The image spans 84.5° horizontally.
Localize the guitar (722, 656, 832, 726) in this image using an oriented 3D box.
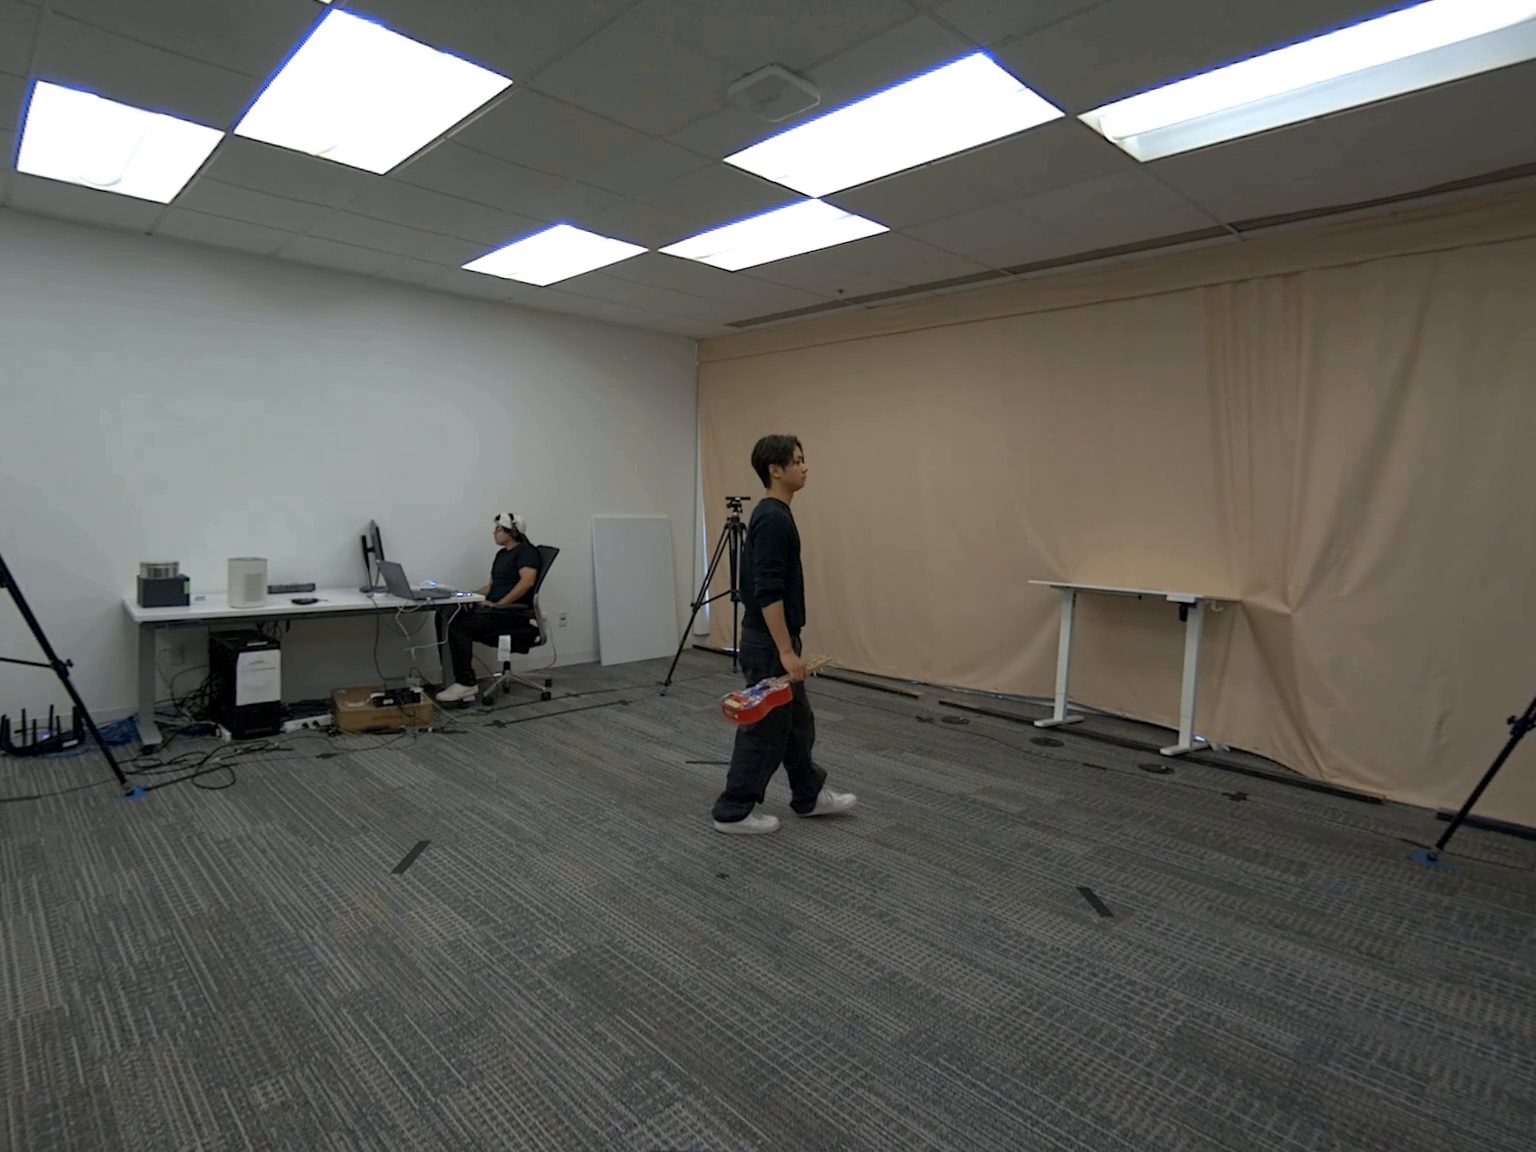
[{"bbox_3d":[0.044,0.429,3.190,0.492,0.070,0.197,-20,16,-23],"label":"guitar"}]
